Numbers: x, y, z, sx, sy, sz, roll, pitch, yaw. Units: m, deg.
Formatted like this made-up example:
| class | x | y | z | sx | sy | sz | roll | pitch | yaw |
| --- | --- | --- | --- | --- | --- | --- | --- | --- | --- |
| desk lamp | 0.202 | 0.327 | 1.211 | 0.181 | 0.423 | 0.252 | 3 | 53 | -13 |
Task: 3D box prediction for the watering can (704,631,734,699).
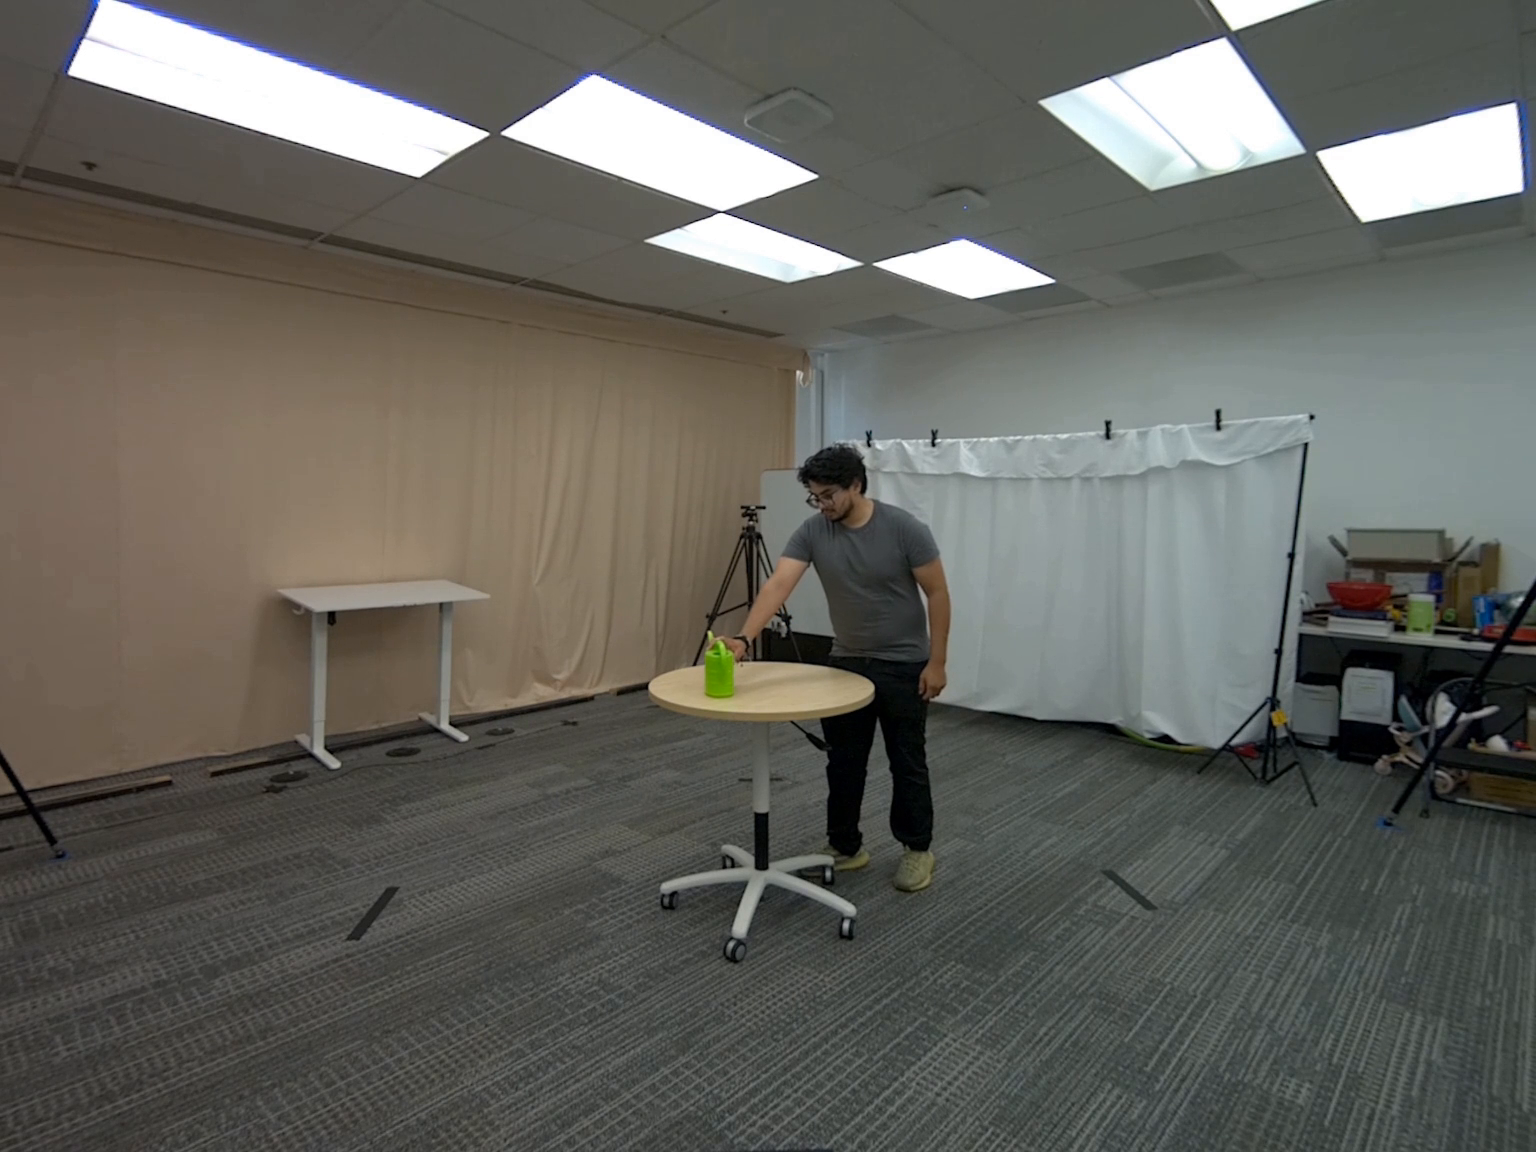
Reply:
| class | x | y | z | sx | sy | sz | roll | pitch | yaw |
| --- | --- | --- | --- | --- | --- | --- | --- | --- | --- |
| watering can | -0.152 | 0.296 | 2.775 | 0.098 | 0.176 | 0.279 | 0 | 7 | 1 |
